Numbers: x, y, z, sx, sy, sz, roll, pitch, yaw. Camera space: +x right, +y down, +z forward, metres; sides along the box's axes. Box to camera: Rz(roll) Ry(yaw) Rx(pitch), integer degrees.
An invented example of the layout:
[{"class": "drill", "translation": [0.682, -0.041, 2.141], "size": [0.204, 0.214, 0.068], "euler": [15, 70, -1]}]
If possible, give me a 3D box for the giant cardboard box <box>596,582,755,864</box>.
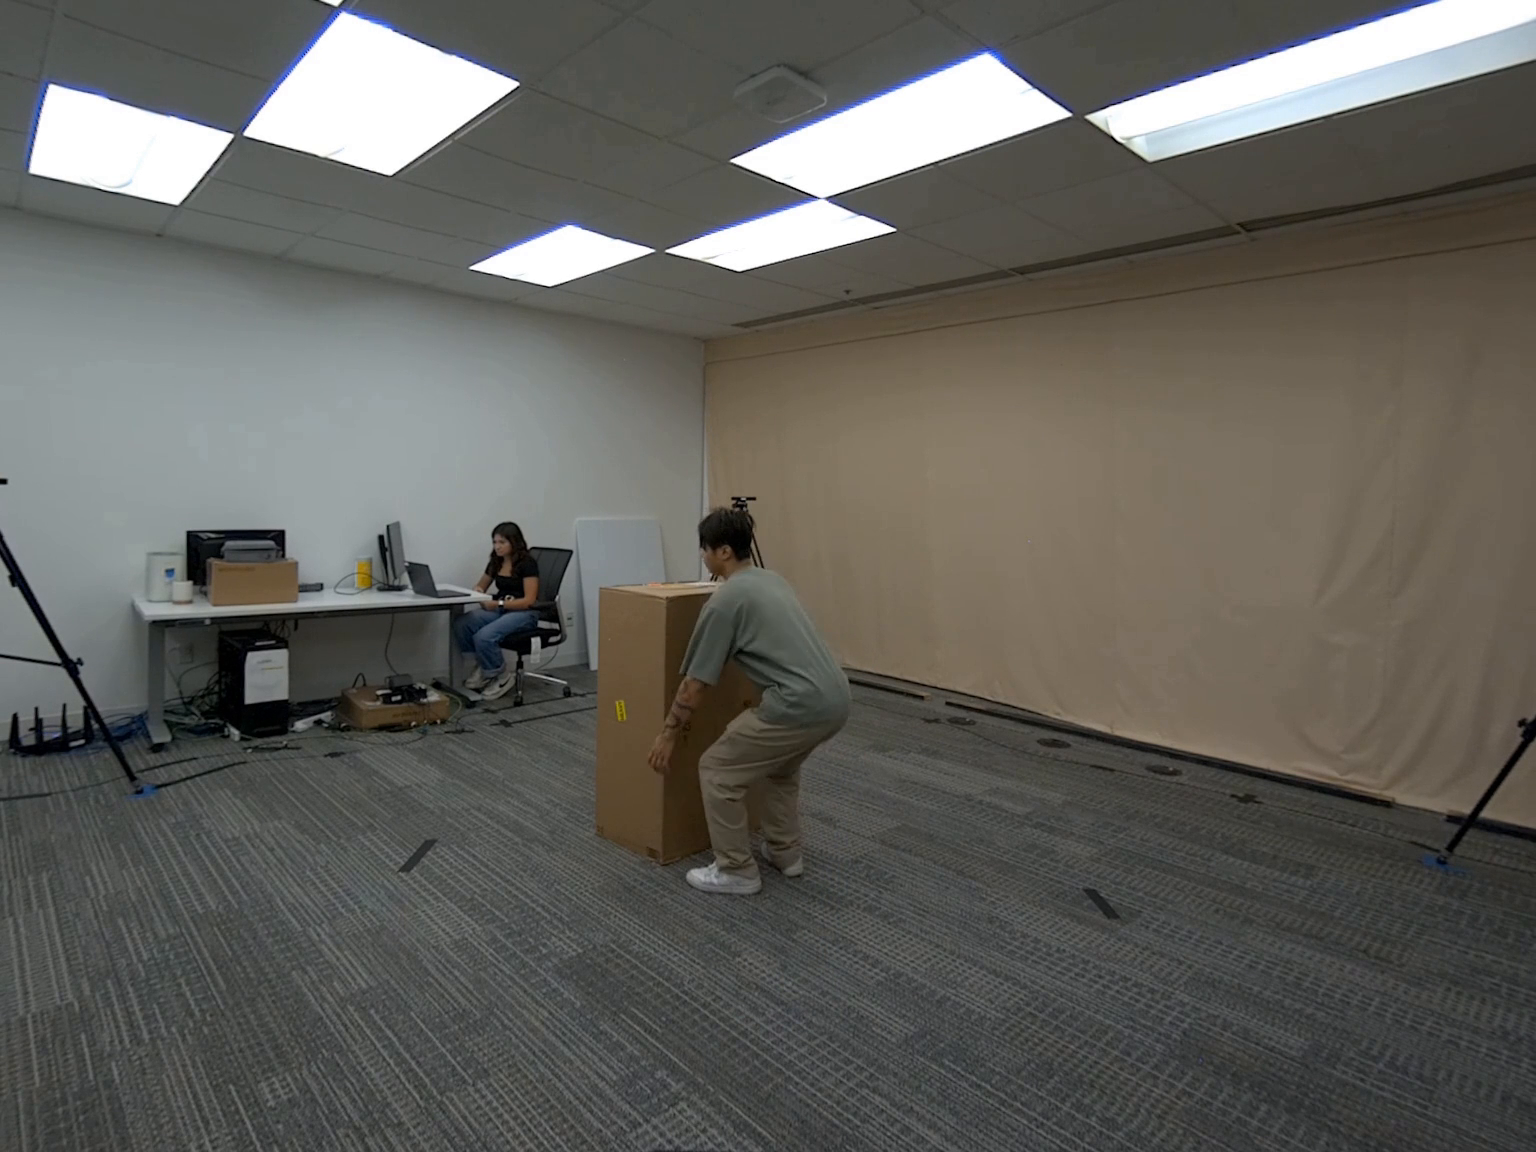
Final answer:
[{"class": "giant cardboard box", "translation": [-0.365, 0.557, 3.508], "size": [0.437, 1.023, 0.564], "euler": [4, 5, 43]}]
